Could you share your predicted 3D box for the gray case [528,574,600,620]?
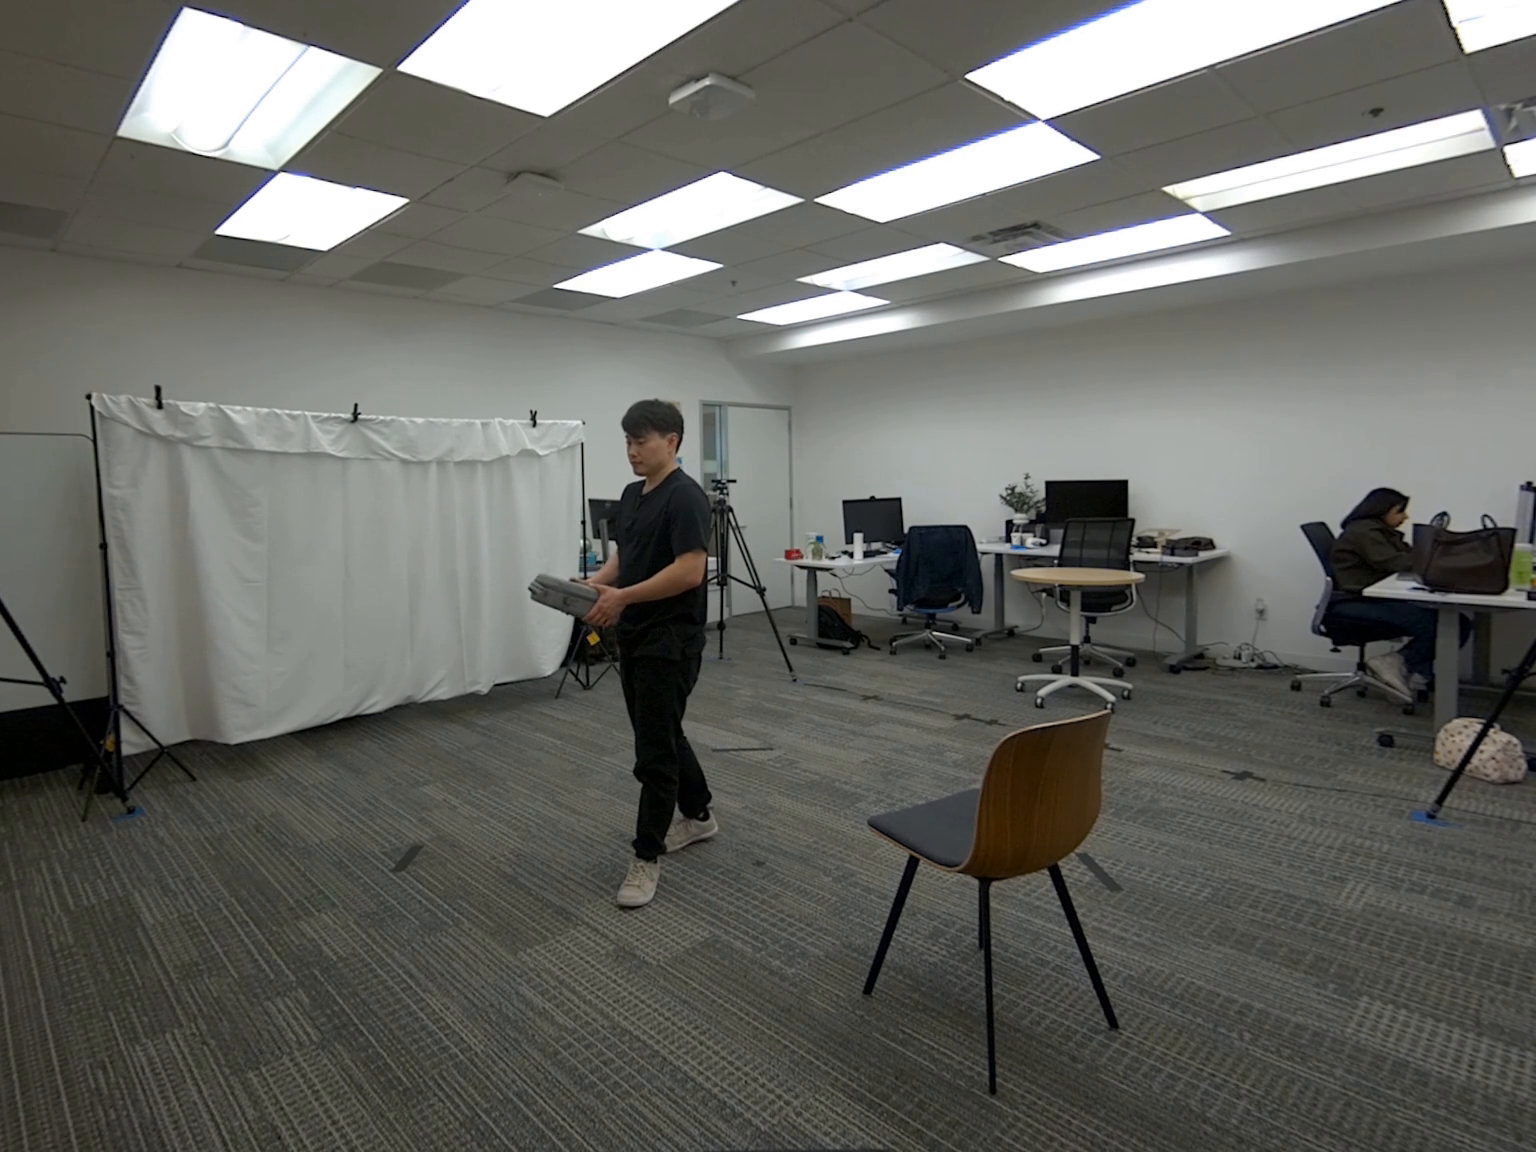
[{"bbox_3d":[-0.646,0.072,2.885,0.252,0.105,0.264,17,-5,-31],"label":"gray case"}]
